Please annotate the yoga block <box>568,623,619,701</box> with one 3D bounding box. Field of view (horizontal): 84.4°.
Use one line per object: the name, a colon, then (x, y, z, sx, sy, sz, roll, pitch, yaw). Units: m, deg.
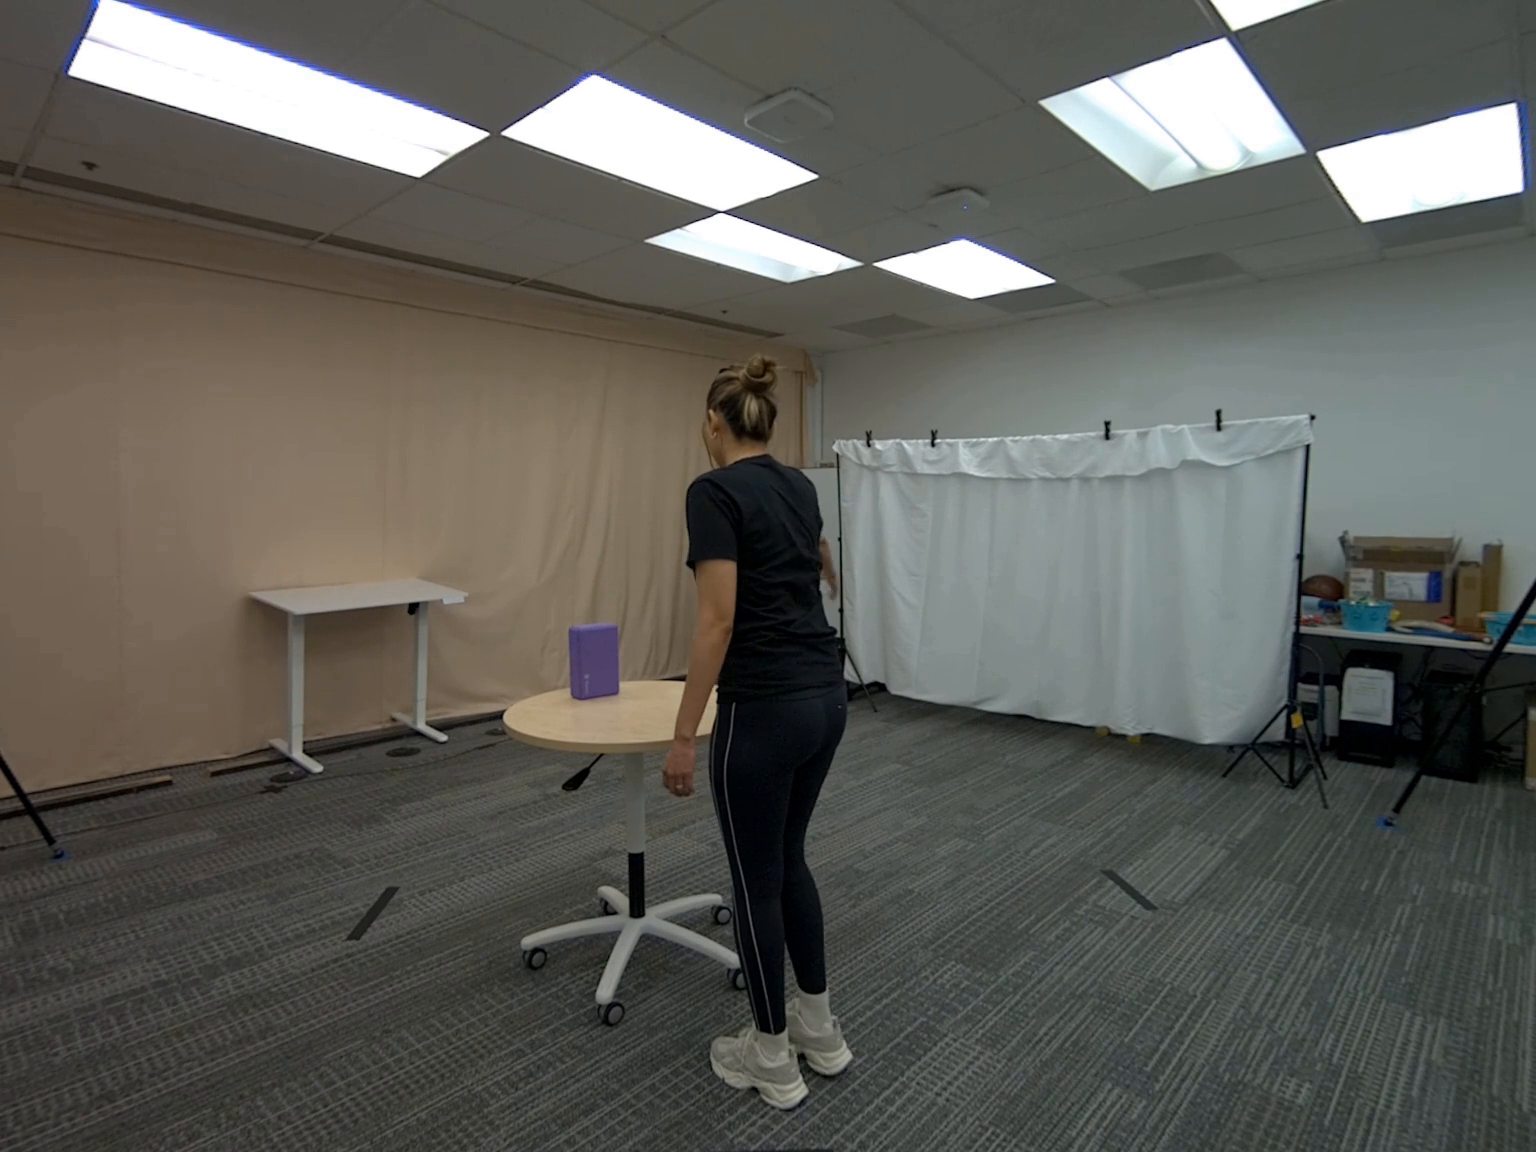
yoga block: (-0.560, 0.273, 2.710, 0.144, 0.229, 0.079, -3, 4, -36)
